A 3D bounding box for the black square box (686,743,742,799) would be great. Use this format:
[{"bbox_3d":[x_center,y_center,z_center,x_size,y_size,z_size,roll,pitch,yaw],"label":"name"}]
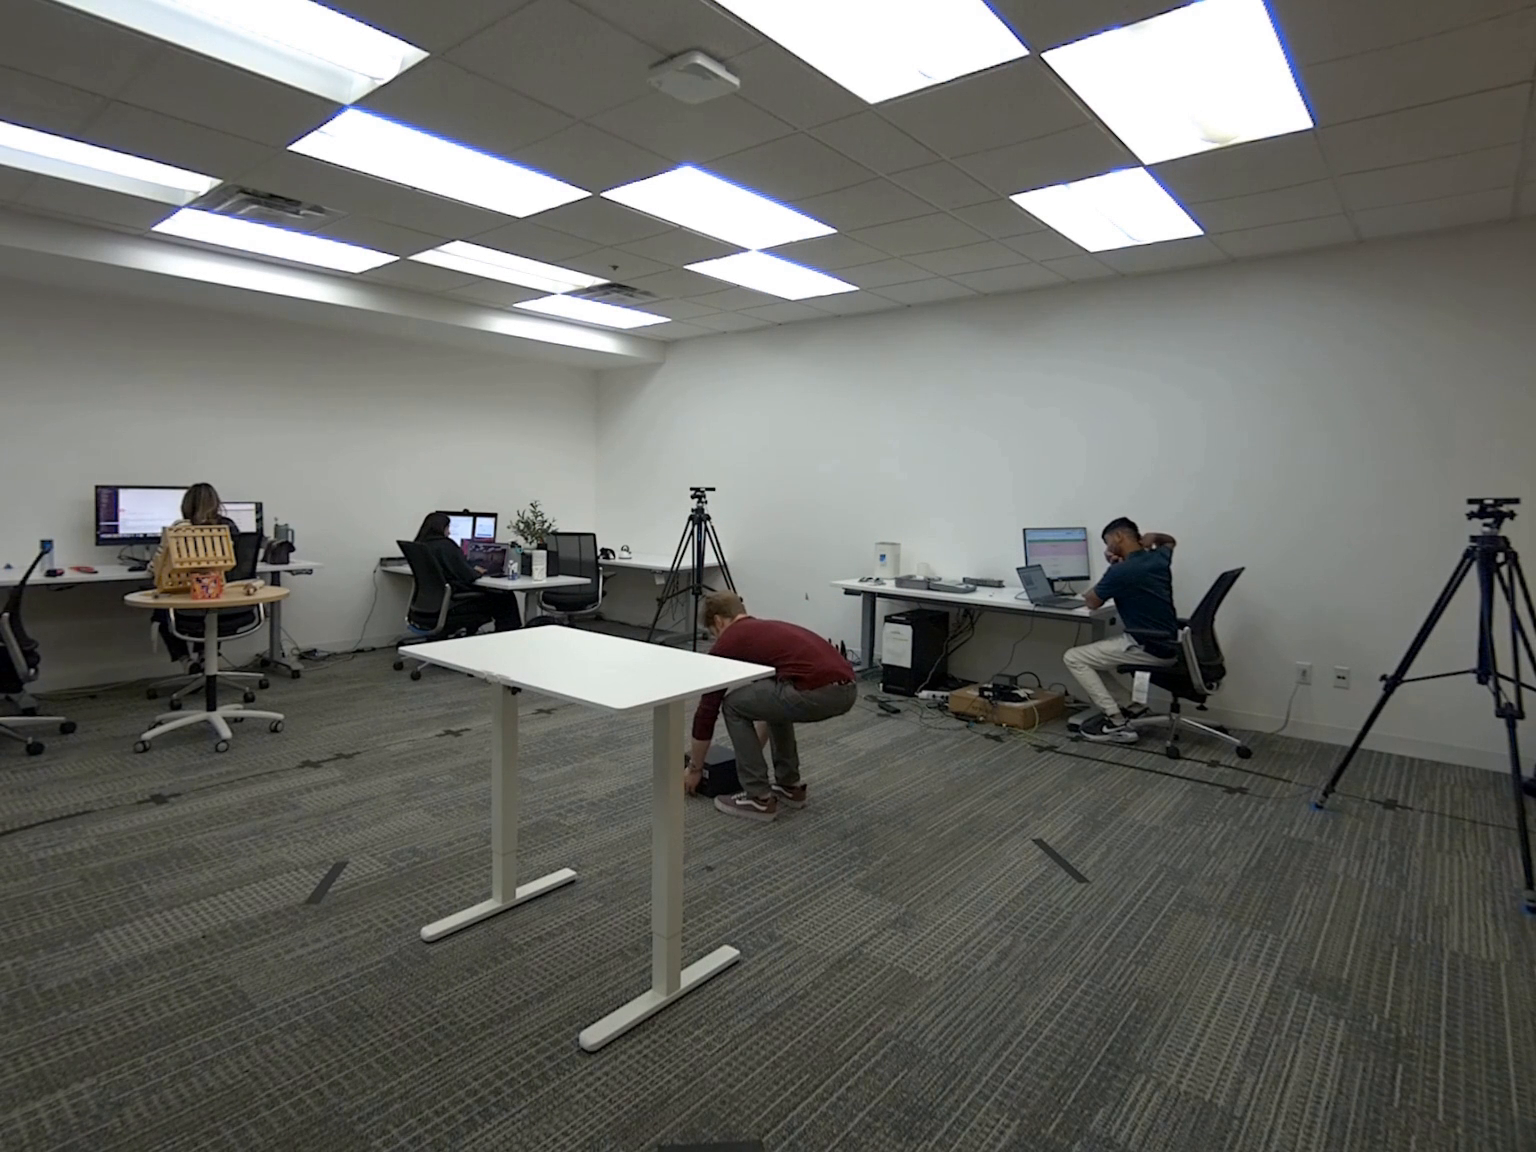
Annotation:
[{"bbox_3d":[-0.252,0.898,3.963,0.221,0.155,0.224,-5,7,-42],"label":"black square box"}]
